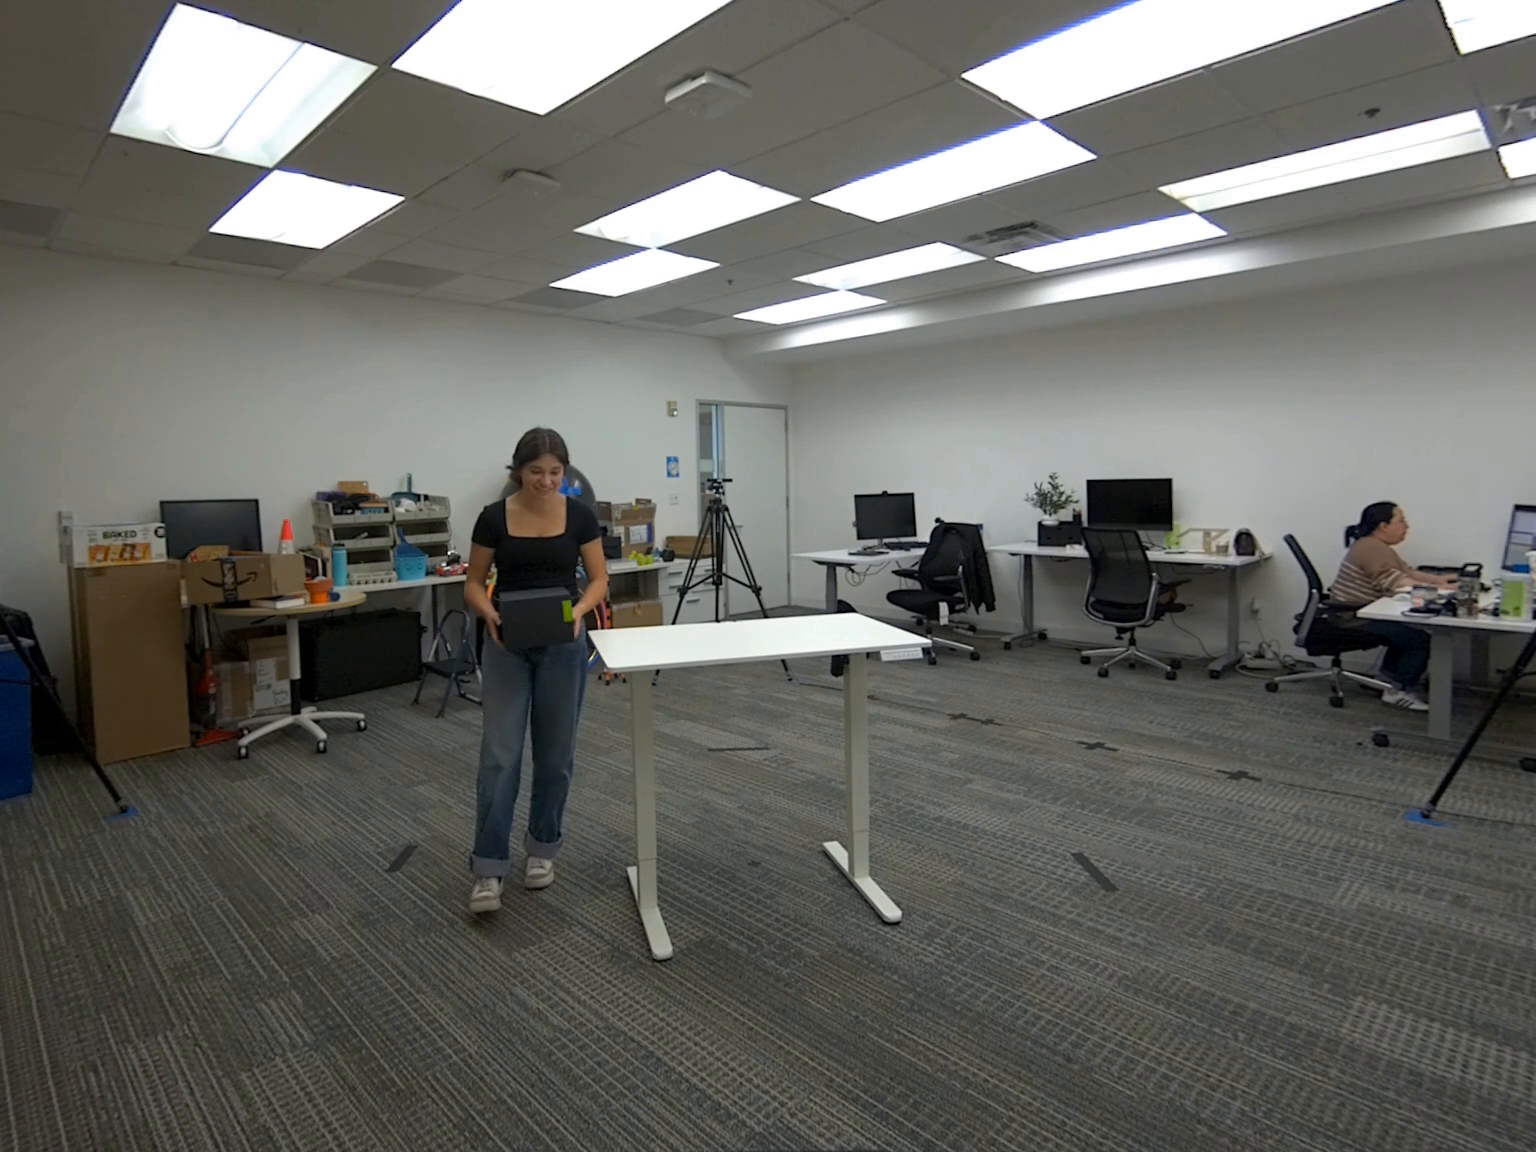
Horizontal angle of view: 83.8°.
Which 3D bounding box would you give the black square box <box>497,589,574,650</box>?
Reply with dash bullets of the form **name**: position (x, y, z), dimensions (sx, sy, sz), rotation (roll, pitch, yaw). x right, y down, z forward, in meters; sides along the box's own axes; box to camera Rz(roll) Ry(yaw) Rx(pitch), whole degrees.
- **black square box**: position (-0.747, 0.133, 2.745), dimensions (0.214, 0.155, 0.232), rotation (-6, 5, -17)
